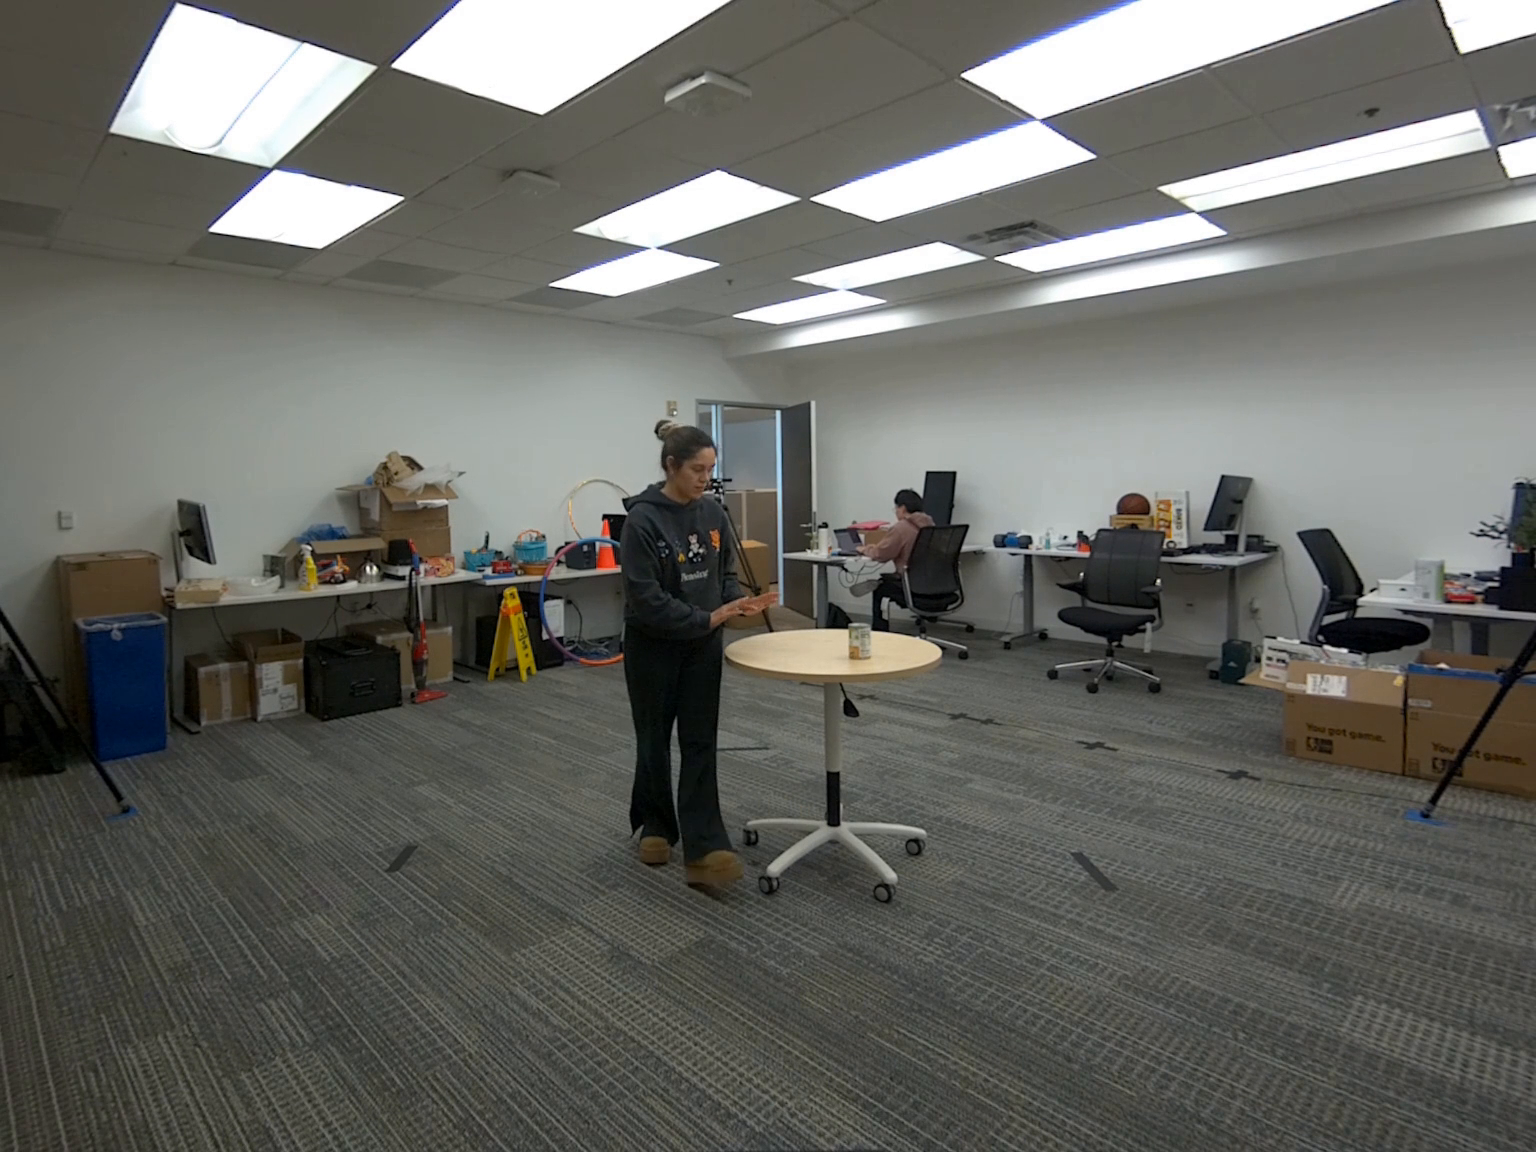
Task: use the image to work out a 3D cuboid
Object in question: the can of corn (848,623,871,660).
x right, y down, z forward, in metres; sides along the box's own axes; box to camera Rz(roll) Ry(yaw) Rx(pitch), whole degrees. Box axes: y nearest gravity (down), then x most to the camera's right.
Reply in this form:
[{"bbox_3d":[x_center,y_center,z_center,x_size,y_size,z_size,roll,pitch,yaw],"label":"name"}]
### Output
[{"bbox_3d":[0.309,0.219,2.890,0.074,0.110,0.074,-1,4,-2],"label":"can of corn"}]
